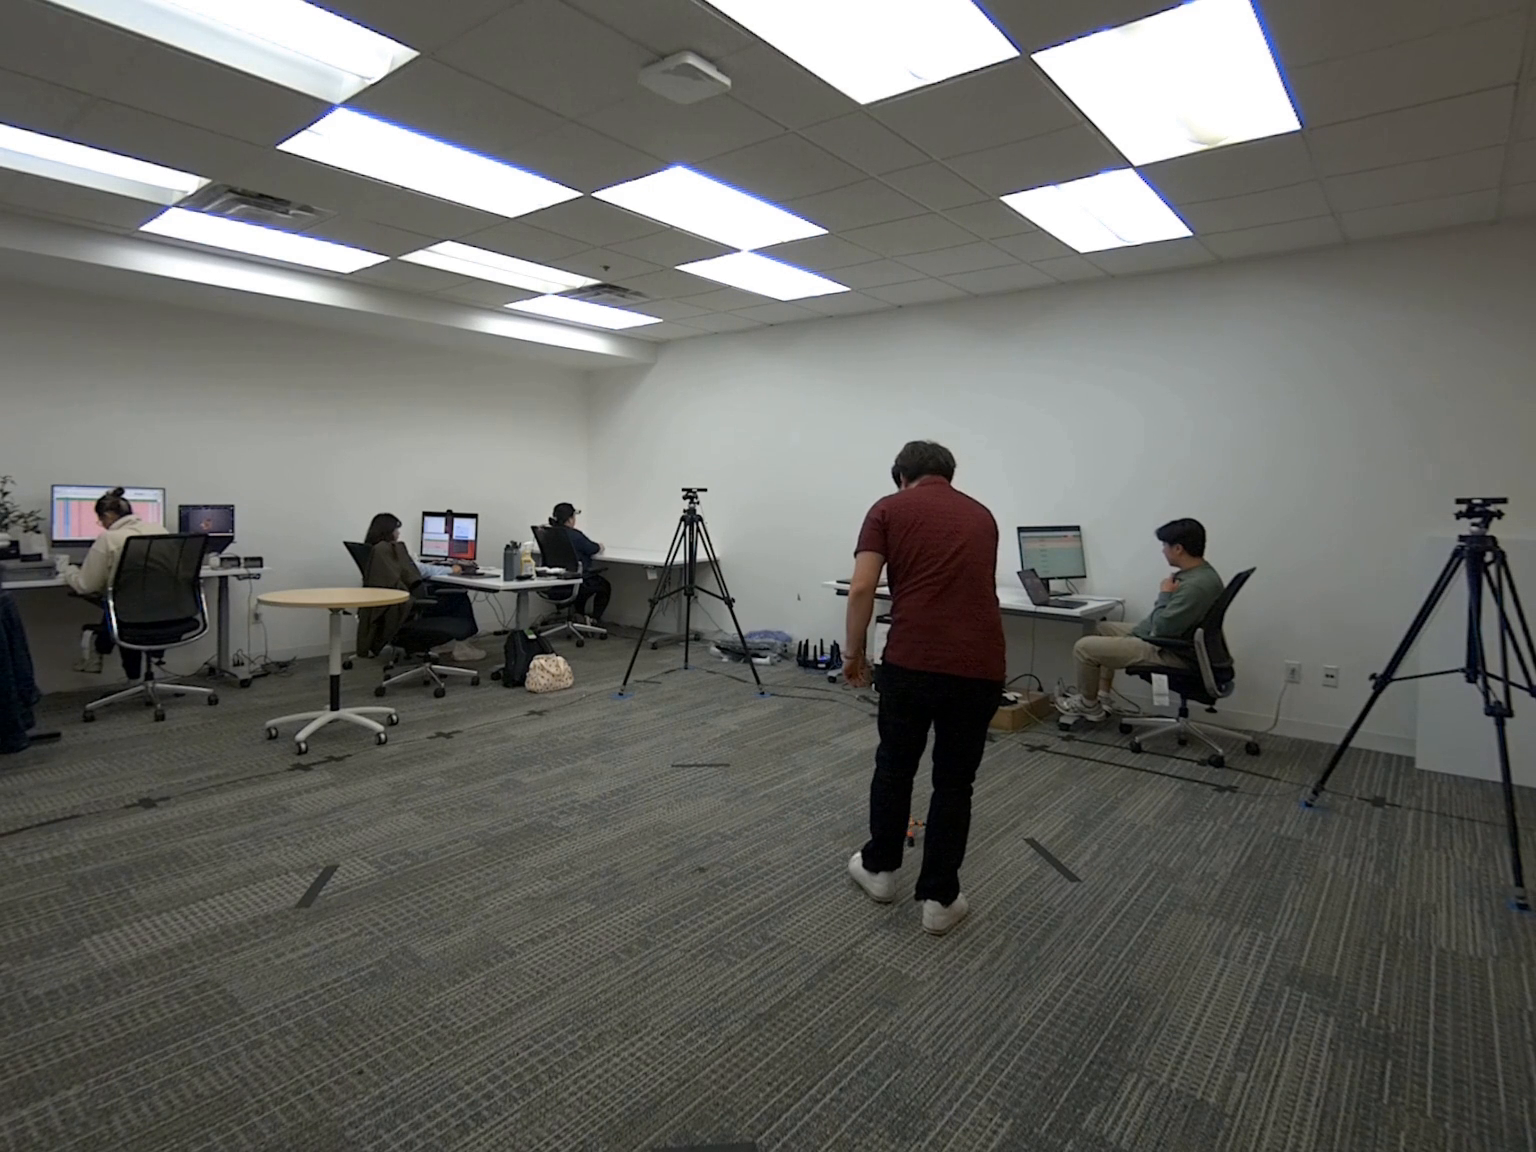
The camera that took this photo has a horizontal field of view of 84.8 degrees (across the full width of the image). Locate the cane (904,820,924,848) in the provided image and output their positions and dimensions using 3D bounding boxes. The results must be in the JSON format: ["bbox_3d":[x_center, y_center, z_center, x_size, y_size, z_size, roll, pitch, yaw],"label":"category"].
[{"bbox_3d":[0.555,0.594,3.441,0.147,0.905,0.213,0,3,-38],"label":"cane"}]
